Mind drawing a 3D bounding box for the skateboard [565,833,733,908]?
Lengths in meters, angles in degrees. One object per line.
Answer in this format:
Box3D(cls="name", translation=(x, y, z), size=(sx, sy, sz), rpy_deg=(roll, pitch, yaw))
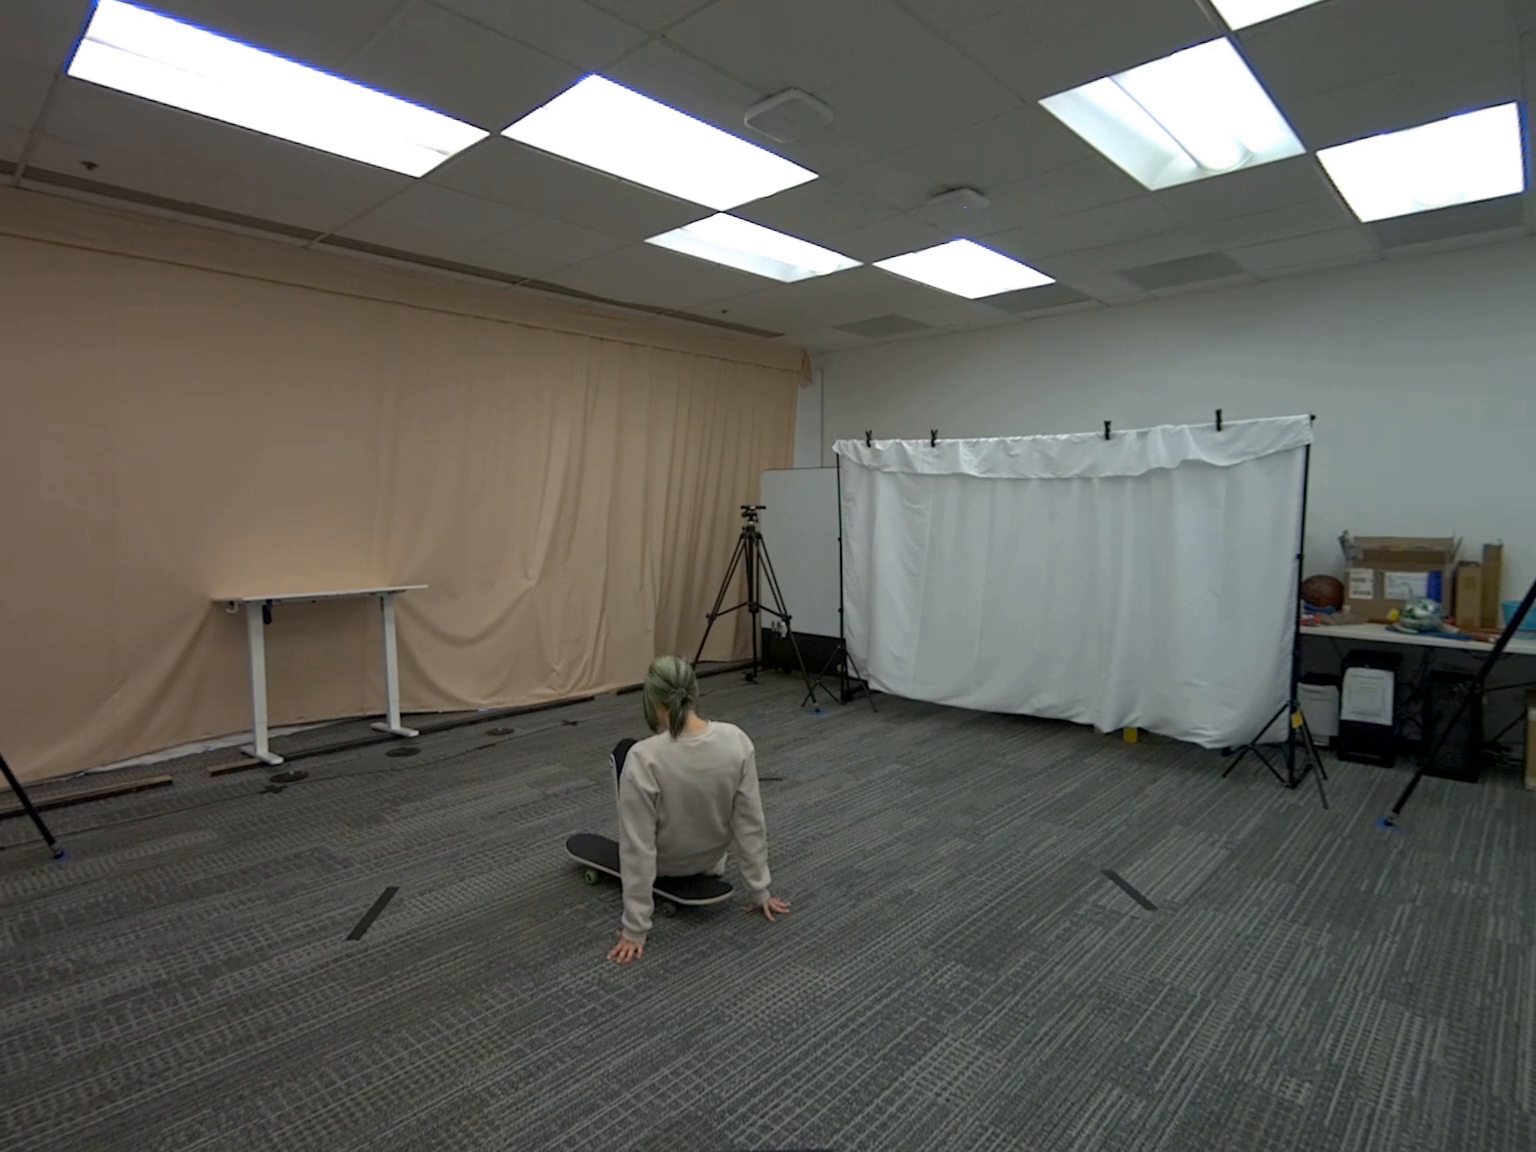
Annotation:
Box3D(cls="skateboard", translation=(-0.454, 1.086, 3.045), size=(0.812, 0.110, 0.188), rpy_deg=(4, 6, 40))
